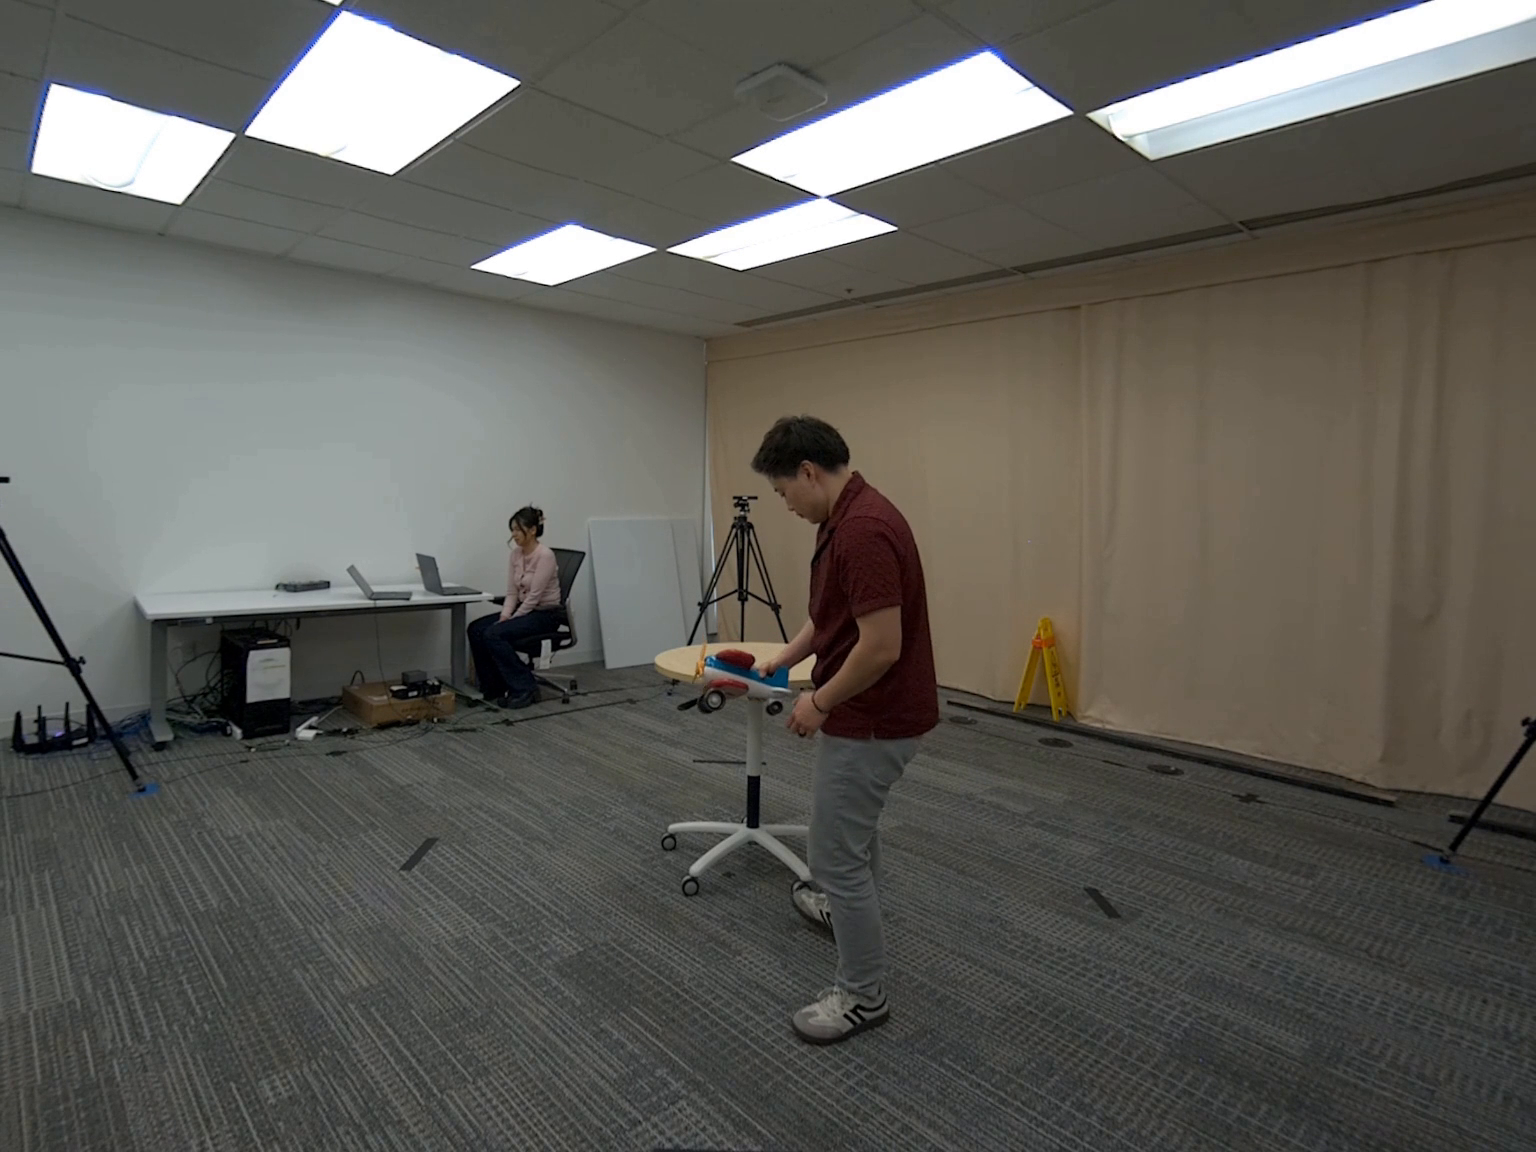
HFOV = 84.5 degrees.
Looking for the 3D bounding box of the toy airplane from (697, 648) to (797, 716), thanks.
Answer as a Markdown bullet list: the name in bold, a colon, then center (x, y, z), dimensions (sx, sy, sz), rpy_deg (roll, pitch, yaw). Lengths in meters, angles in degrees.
- **toy airplane**: center (-0.074, 0.299, 2.268), dimensions (0.252, 0.158, 0.255), rpy_deg (15, -20, -41)
